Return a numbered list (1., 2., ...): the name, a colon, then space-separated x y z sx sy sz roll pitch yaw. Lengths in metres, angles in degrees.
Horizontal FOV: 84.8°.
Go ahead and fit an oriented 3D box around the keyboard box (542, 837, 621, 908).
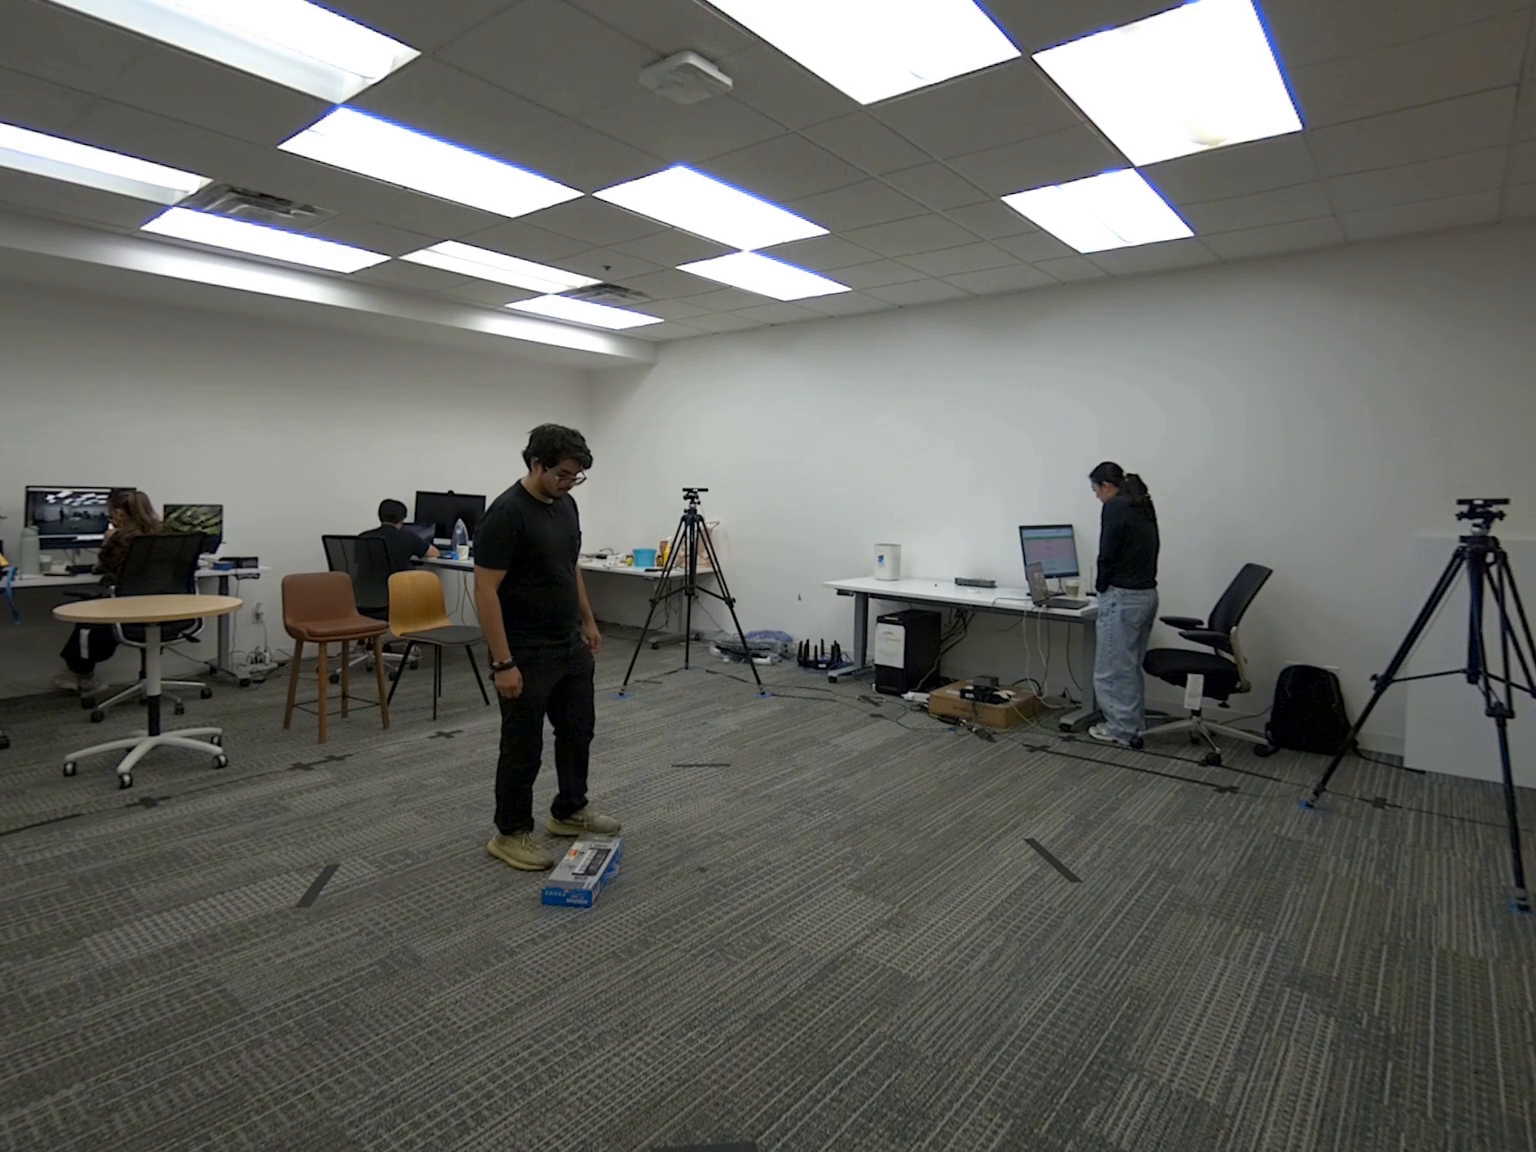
1. keyboard box: -0.662 1.039 3.027 0.177 0.059 0.435 0 6 5
